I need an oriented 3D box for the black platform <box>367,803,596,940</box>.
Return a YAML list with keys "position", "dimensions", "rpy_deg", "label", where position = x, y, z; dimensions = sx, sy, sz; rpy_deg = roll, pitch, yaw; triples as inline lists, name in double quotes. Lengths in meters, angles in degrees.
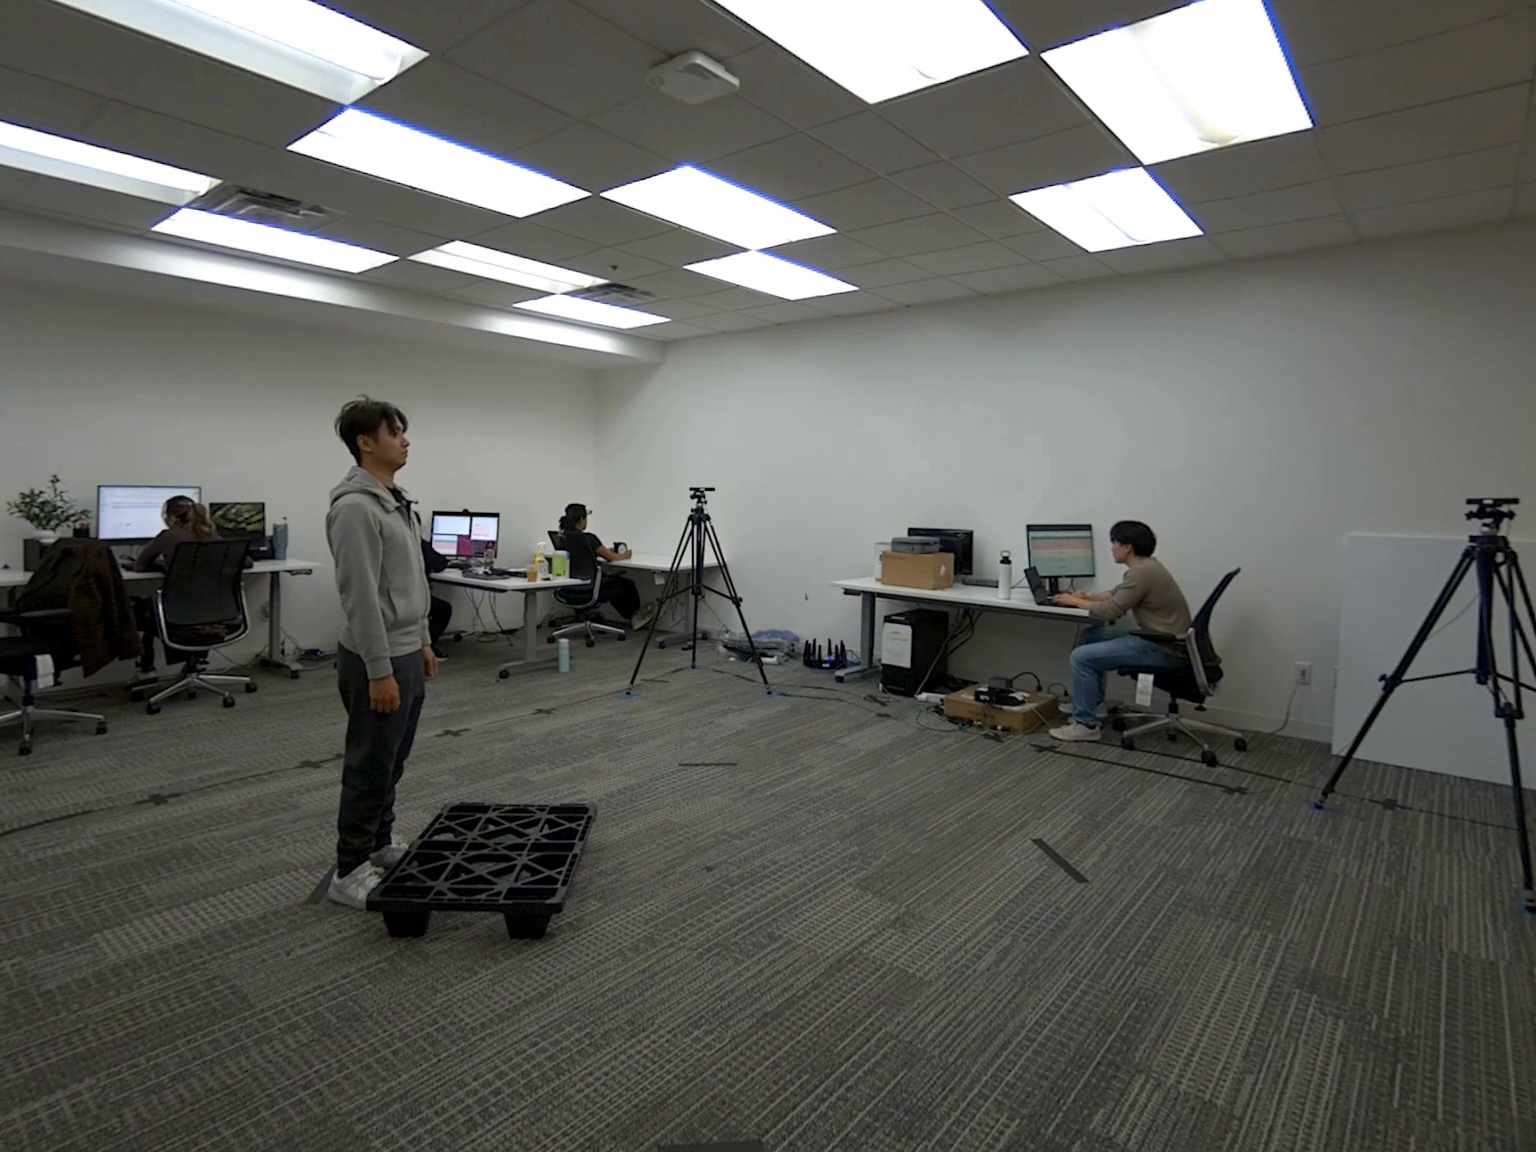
- position: [-0.958, 1.001, 2.957]
  dimensions: [0.604, 0.143, 0.810]
  rpy_deg: [0, 6, -2]
  label: "black platform"
